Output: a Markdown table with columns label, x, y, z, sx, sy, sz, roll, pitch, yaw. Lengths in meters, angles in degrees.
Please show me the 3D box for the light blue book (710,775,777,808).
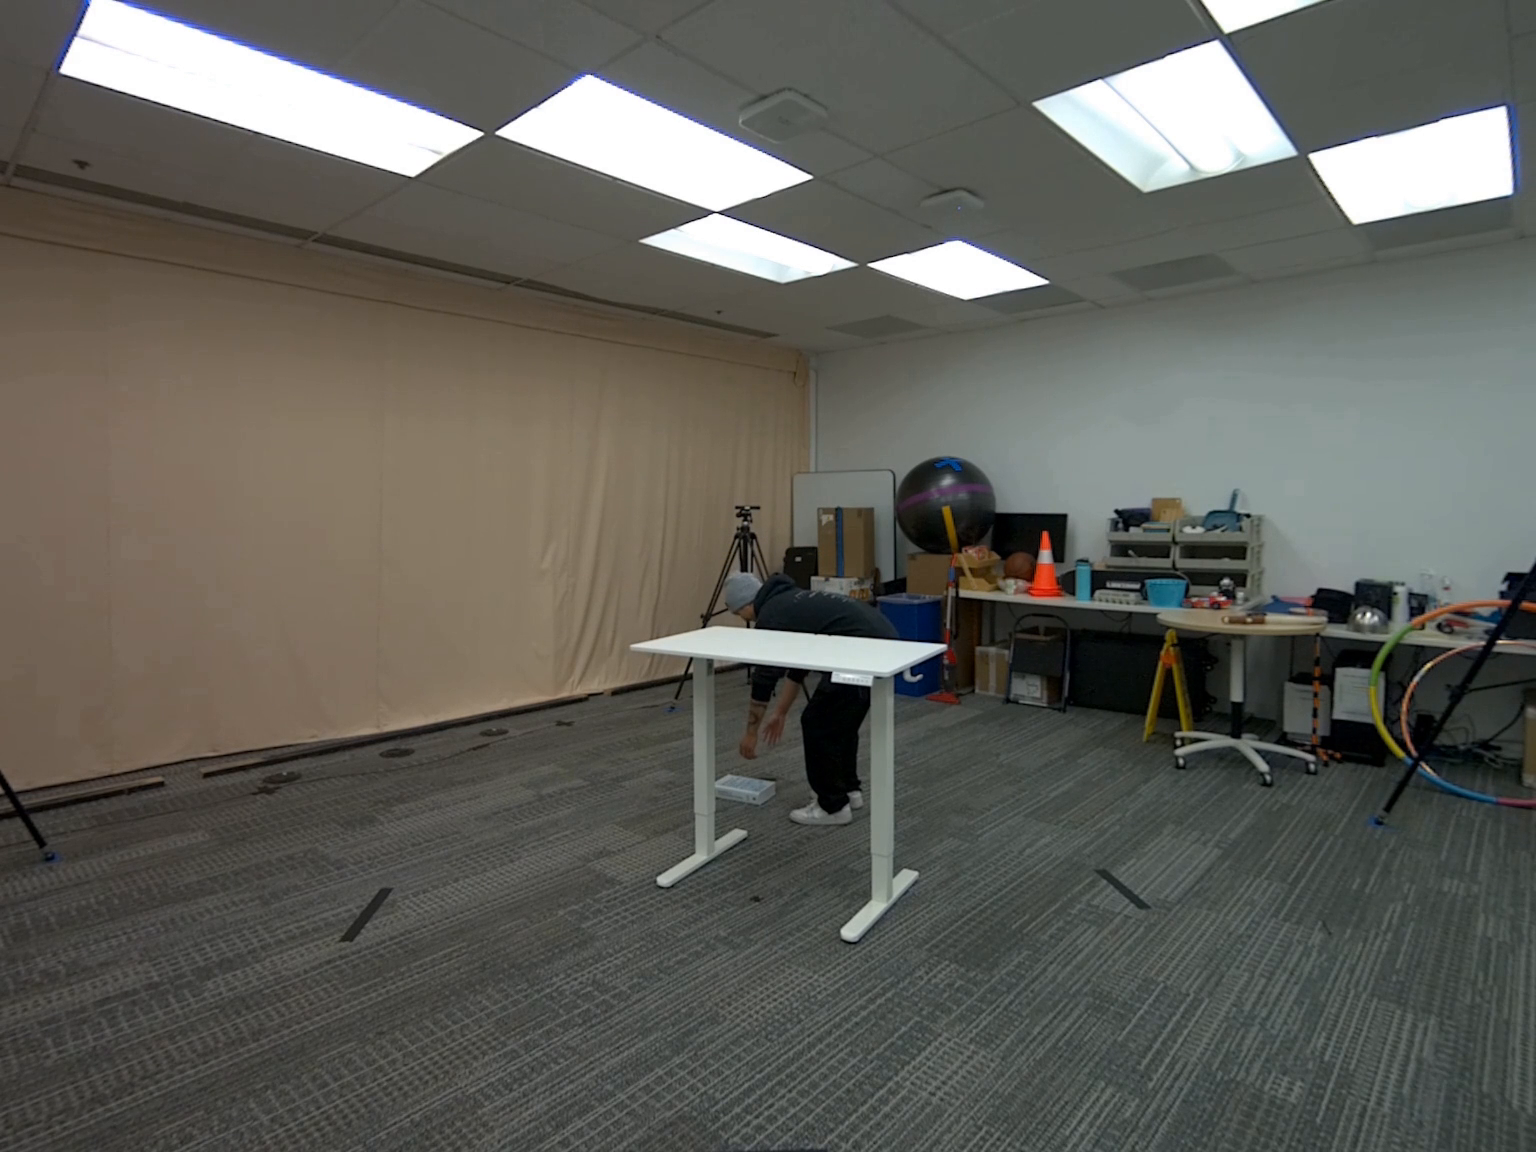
| label | x | y | z | sx | sy | sz | roll | pitch | yaw |
| --- | --- | --- | --- | --- | --- | --- | --- | --- | --- |
| light blue book | -0.119 | 1.031 | 4.065 | 0.268 | 0.059 | 0.186 | 2 | 4 | 28 |
